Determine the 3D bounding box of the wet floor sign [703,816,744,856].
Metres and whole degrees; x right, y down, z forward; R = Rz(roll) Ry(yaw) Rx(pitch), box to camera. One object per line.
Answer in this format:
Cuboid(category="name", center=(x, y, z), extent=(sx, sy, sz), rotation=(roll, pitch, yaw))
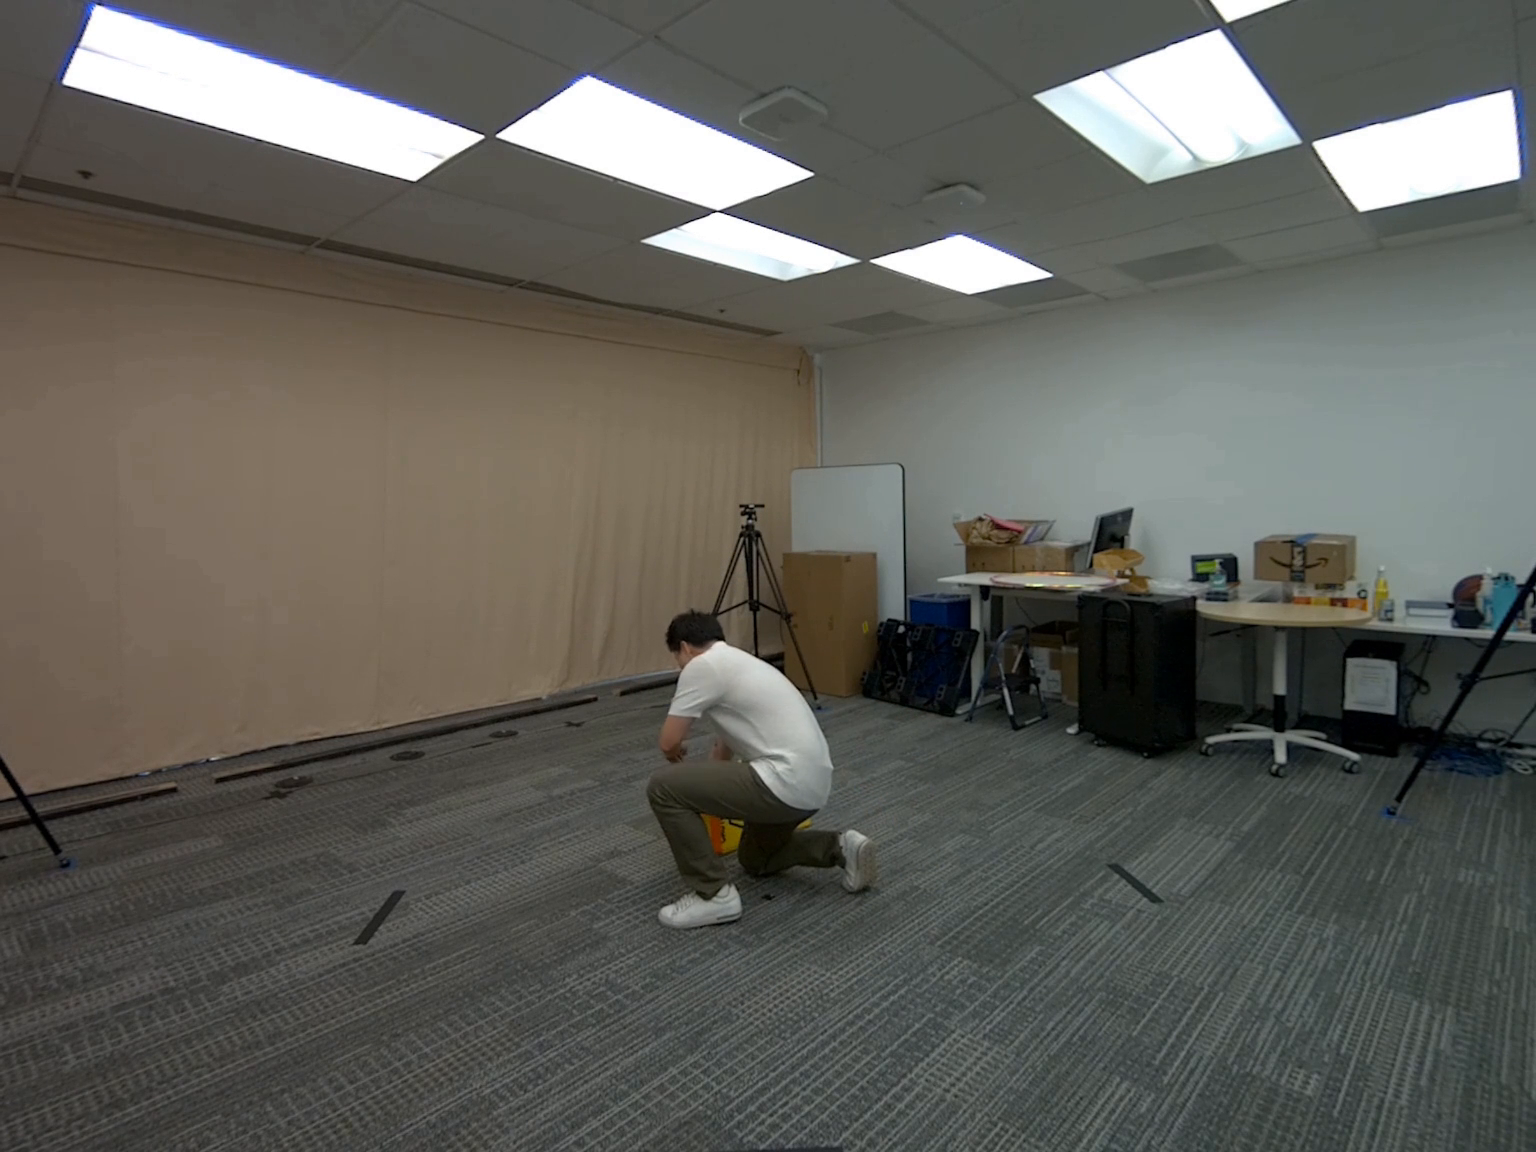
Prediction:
Cuboid(category="wet floor sign", center=(-0.133, 0.967, 3.486), extent=(0.299, 0.281, 0.628), rotation=(-1, 6, 39))
